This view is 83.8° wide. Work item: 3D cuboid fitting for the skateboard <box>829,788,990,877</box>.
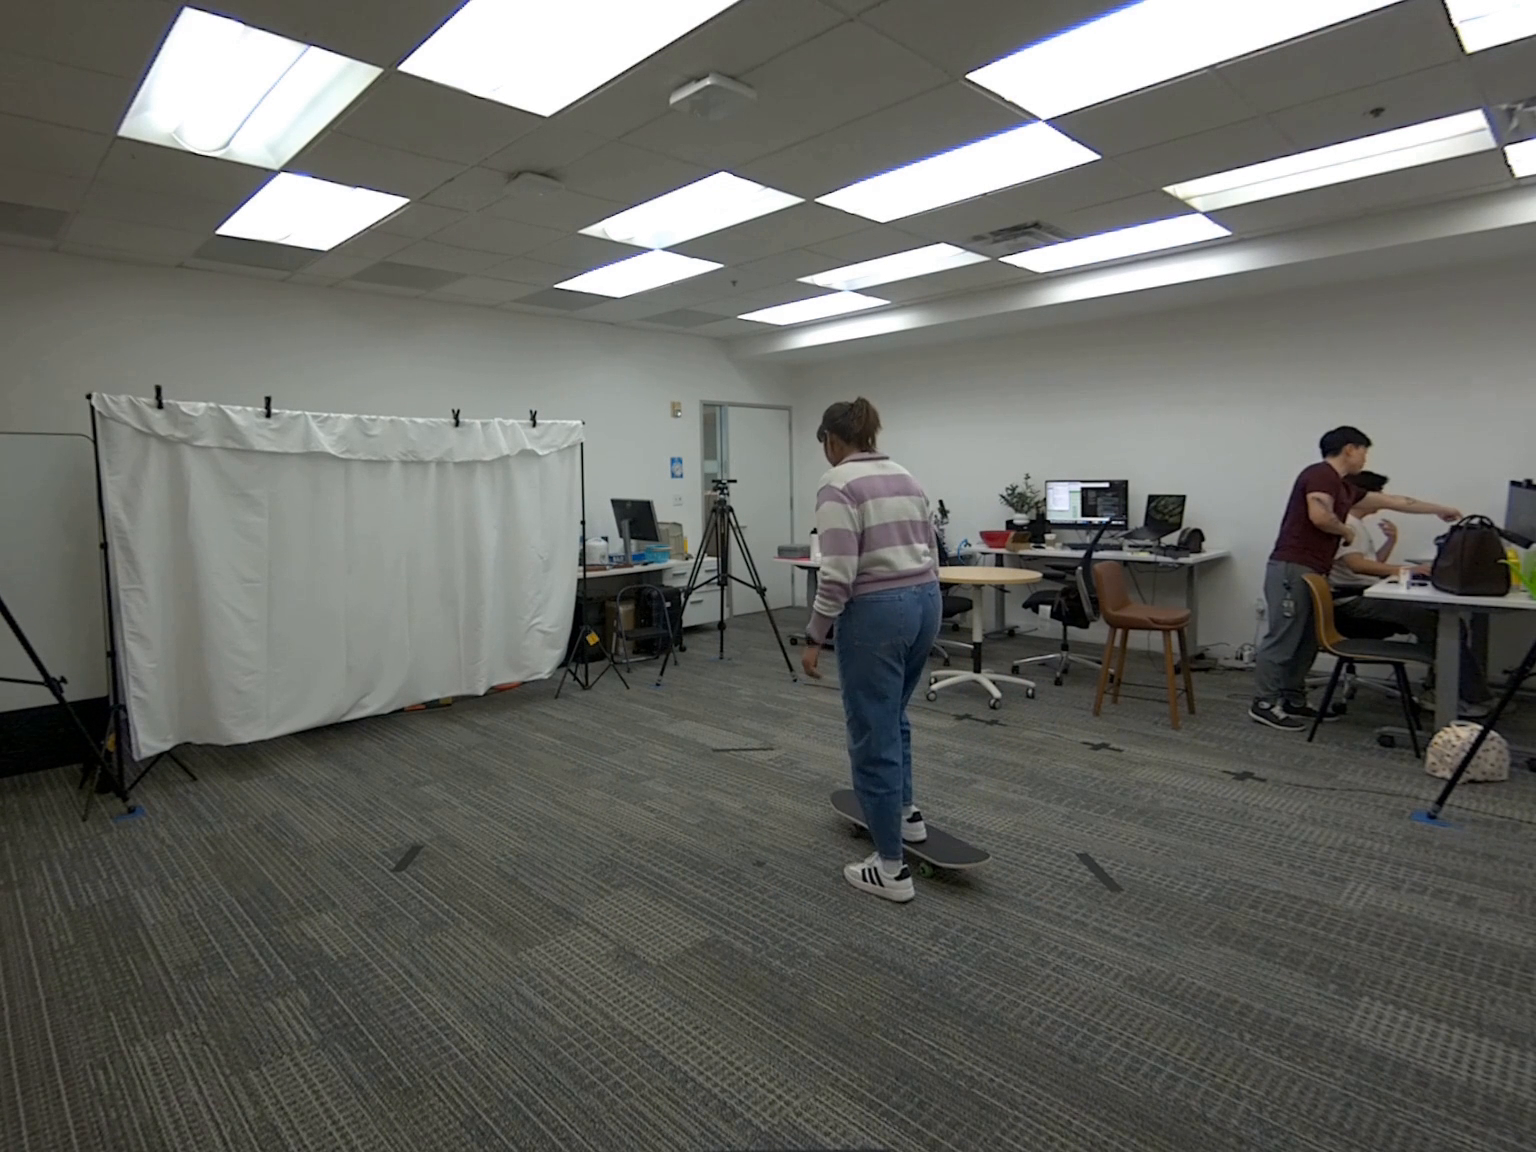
[{"bbox_3d":[0.510,0.972,3.188,0.189,0.110,0.807,-5,7,-31],"label":"skateboard"}]
